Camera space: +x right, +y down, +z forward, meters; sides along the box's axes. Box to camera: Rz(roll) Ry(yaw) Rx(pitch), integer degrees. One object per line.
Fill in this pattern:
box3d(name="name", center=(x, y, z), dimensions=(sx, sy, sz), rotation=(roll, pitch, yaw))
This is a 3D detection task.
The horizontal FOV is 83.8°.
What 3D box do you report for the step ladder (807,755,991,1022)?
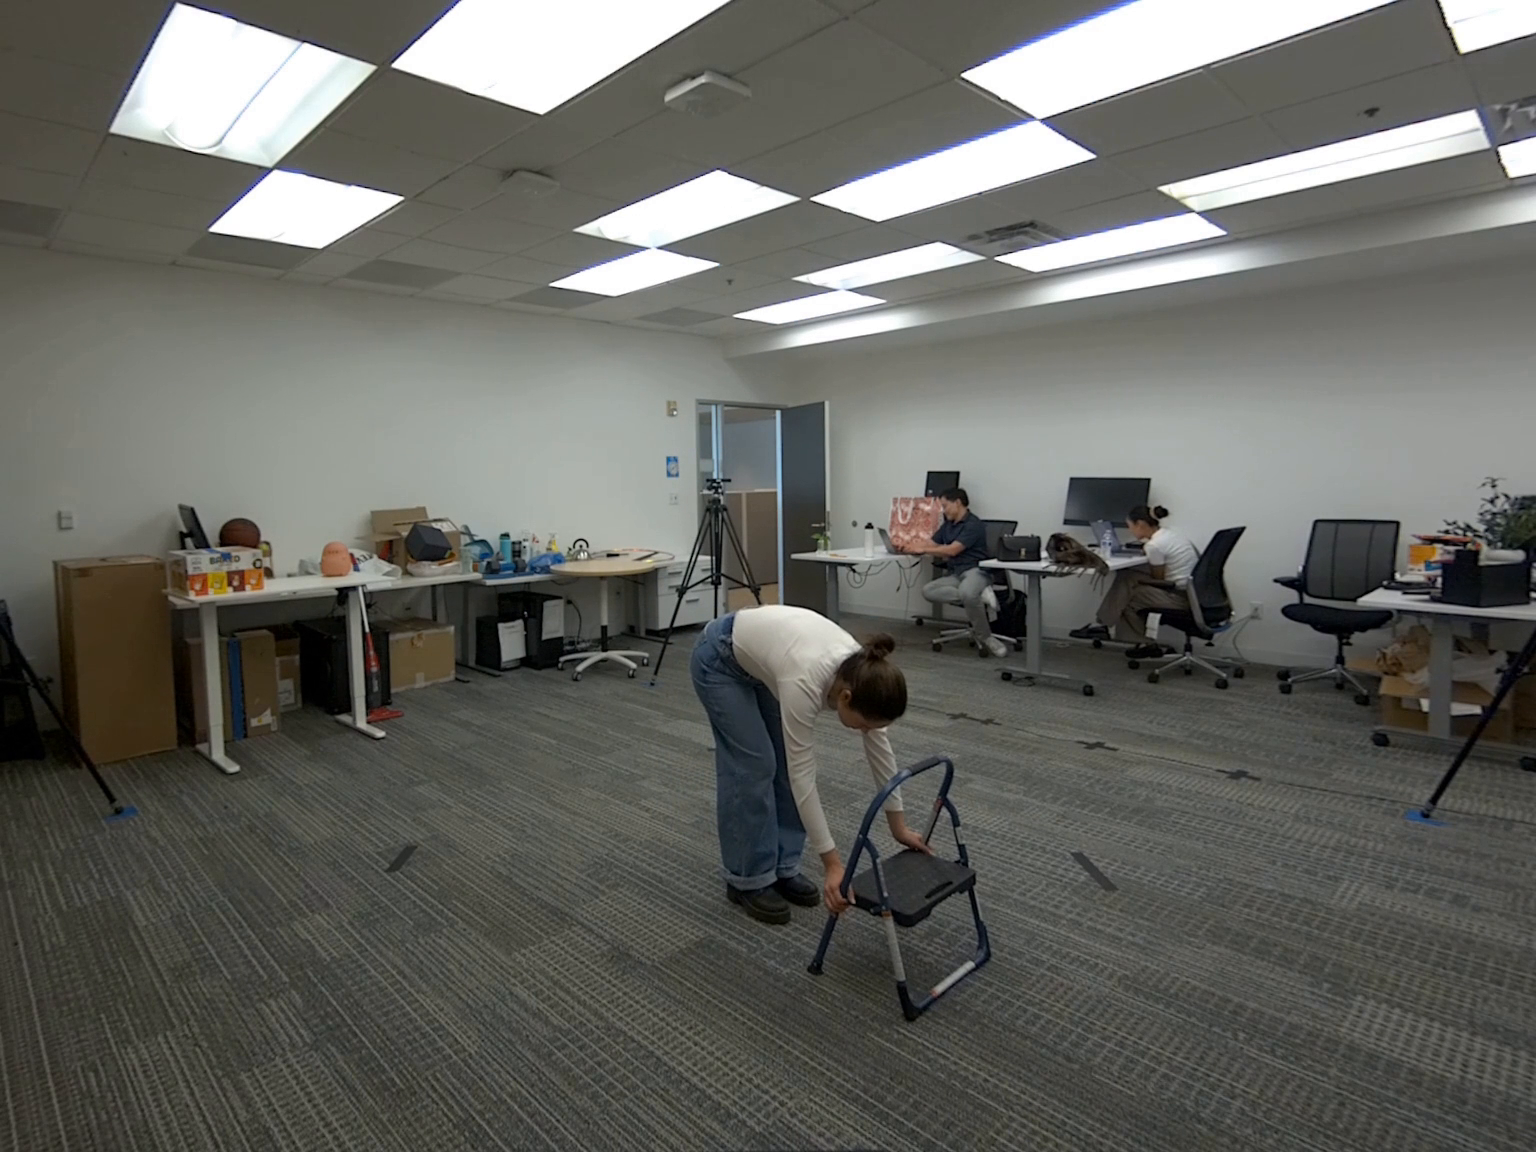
box3d(name="step ladder", center=(0.382, 0.812, 2.426), dimensions=(0.360, 0.604, 0.419), rotation=(3, 6, 43))
